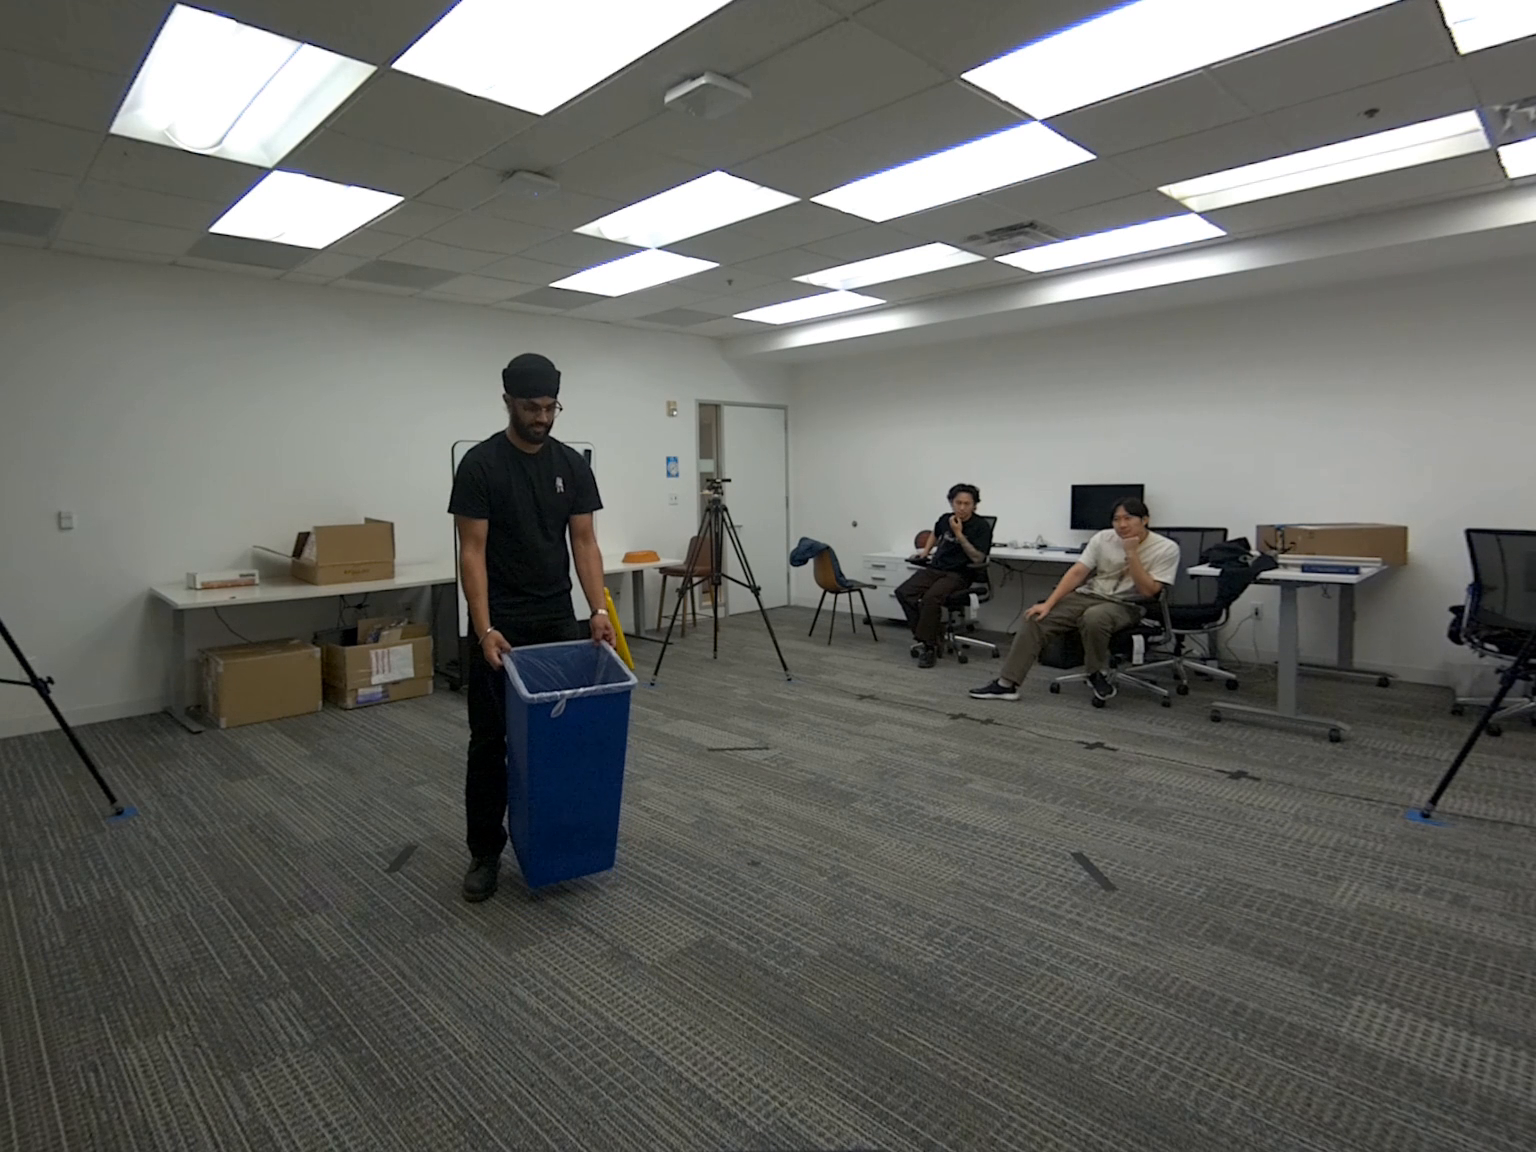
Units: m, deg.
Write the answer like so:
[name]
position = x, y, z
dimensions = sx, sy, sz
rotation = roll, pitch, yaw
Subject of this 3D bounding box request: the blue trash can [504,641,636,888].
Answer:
[blue trash can]
position = -0.688, 0.628, 2.876
dimensions = 0.369, 0.704, 0.387
rotation = -3, 19, -29
